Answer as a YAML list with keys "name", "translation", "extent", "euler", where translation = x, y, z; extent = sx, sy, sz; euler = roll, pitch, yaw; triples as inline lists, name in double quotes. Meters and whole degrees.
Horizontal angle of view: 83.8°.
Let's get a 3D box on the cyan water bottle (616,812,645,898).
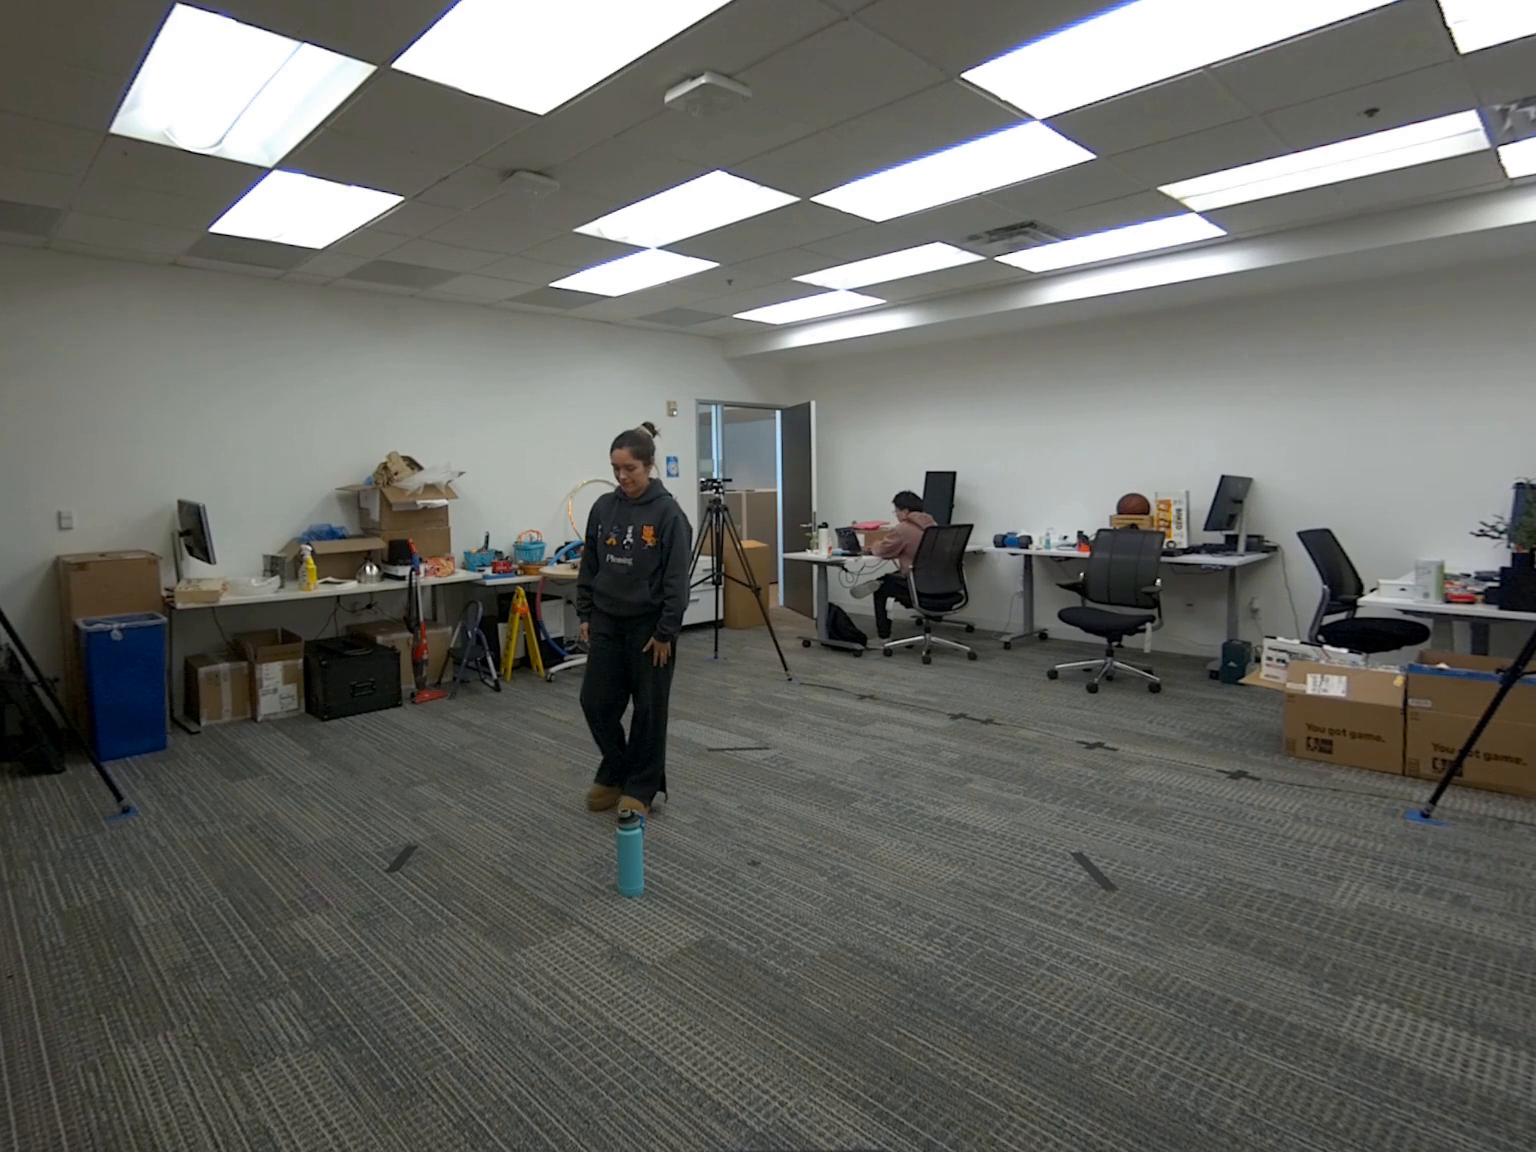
- name: "cyan water bottle"
  translation: [-0.465, 0.939, 2.889]
  extent: [0.092, 0.282, 0.093]
  euler: [0, 4, -2]
